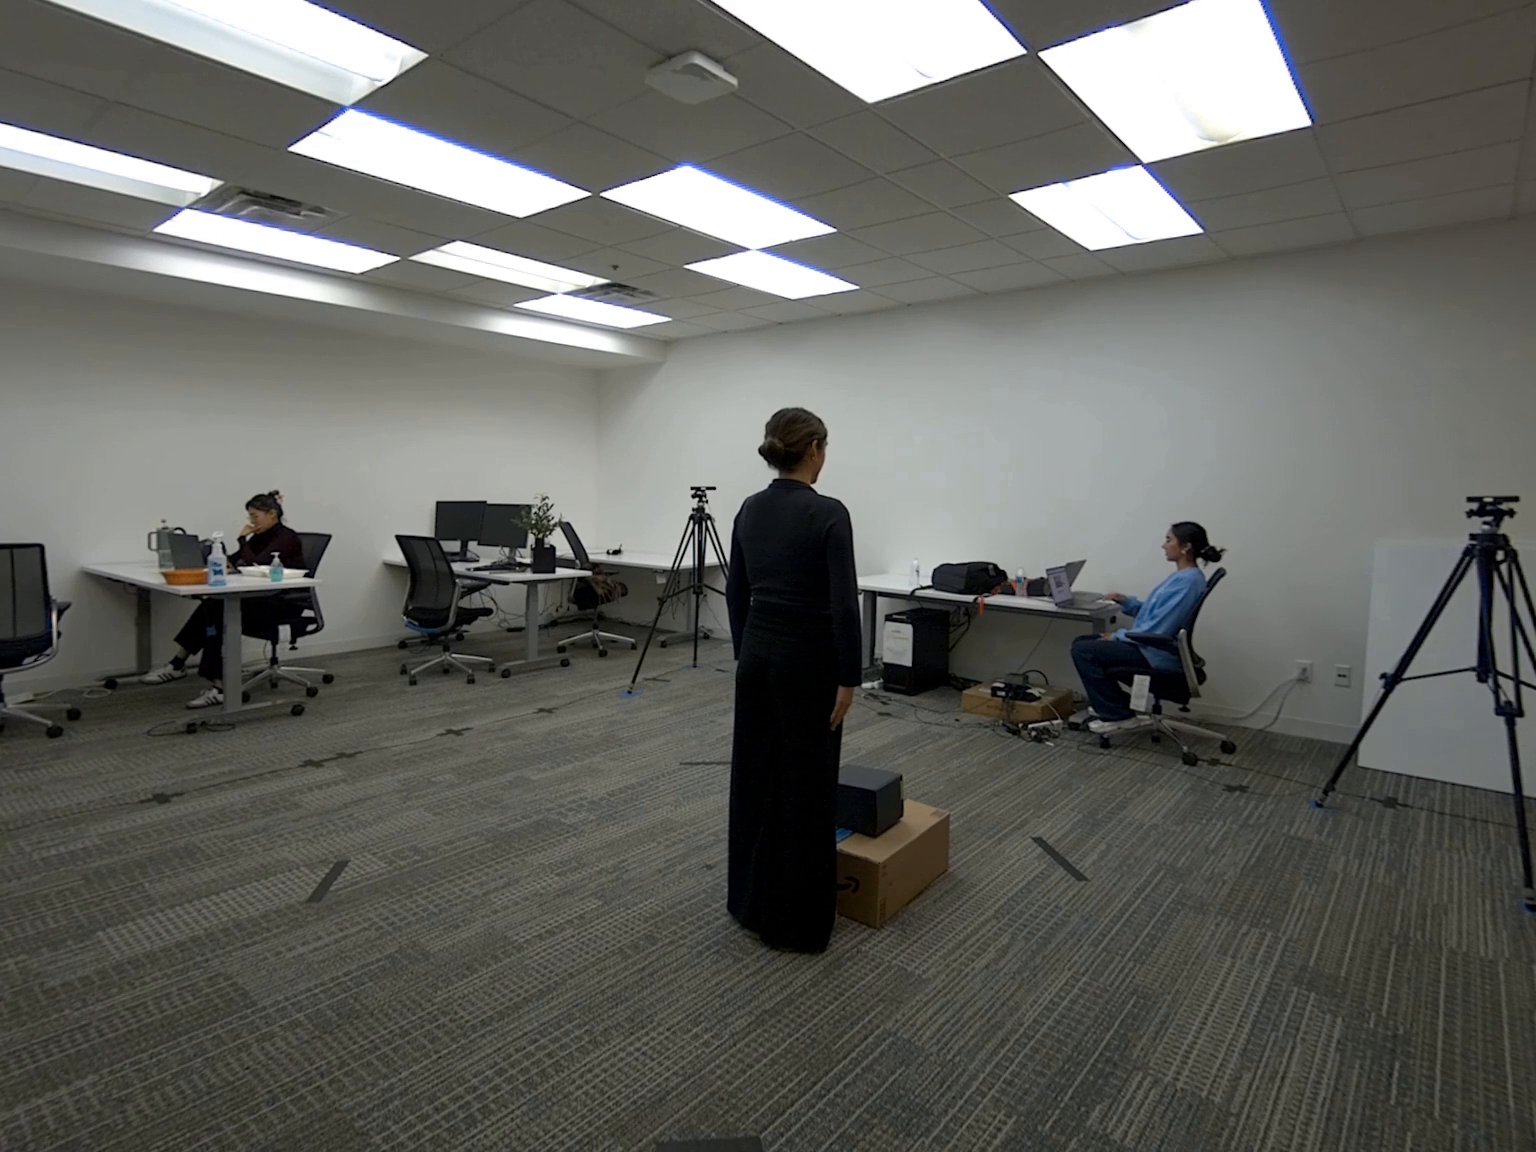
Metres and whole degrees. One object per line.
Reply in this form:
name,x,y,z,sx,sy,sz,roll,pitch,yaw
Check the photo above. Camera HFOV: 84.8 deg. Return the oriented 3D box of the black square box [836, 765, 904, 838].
black square box,0.322,0.784,3.004,0.235,0.155,0.211,2,5,35
